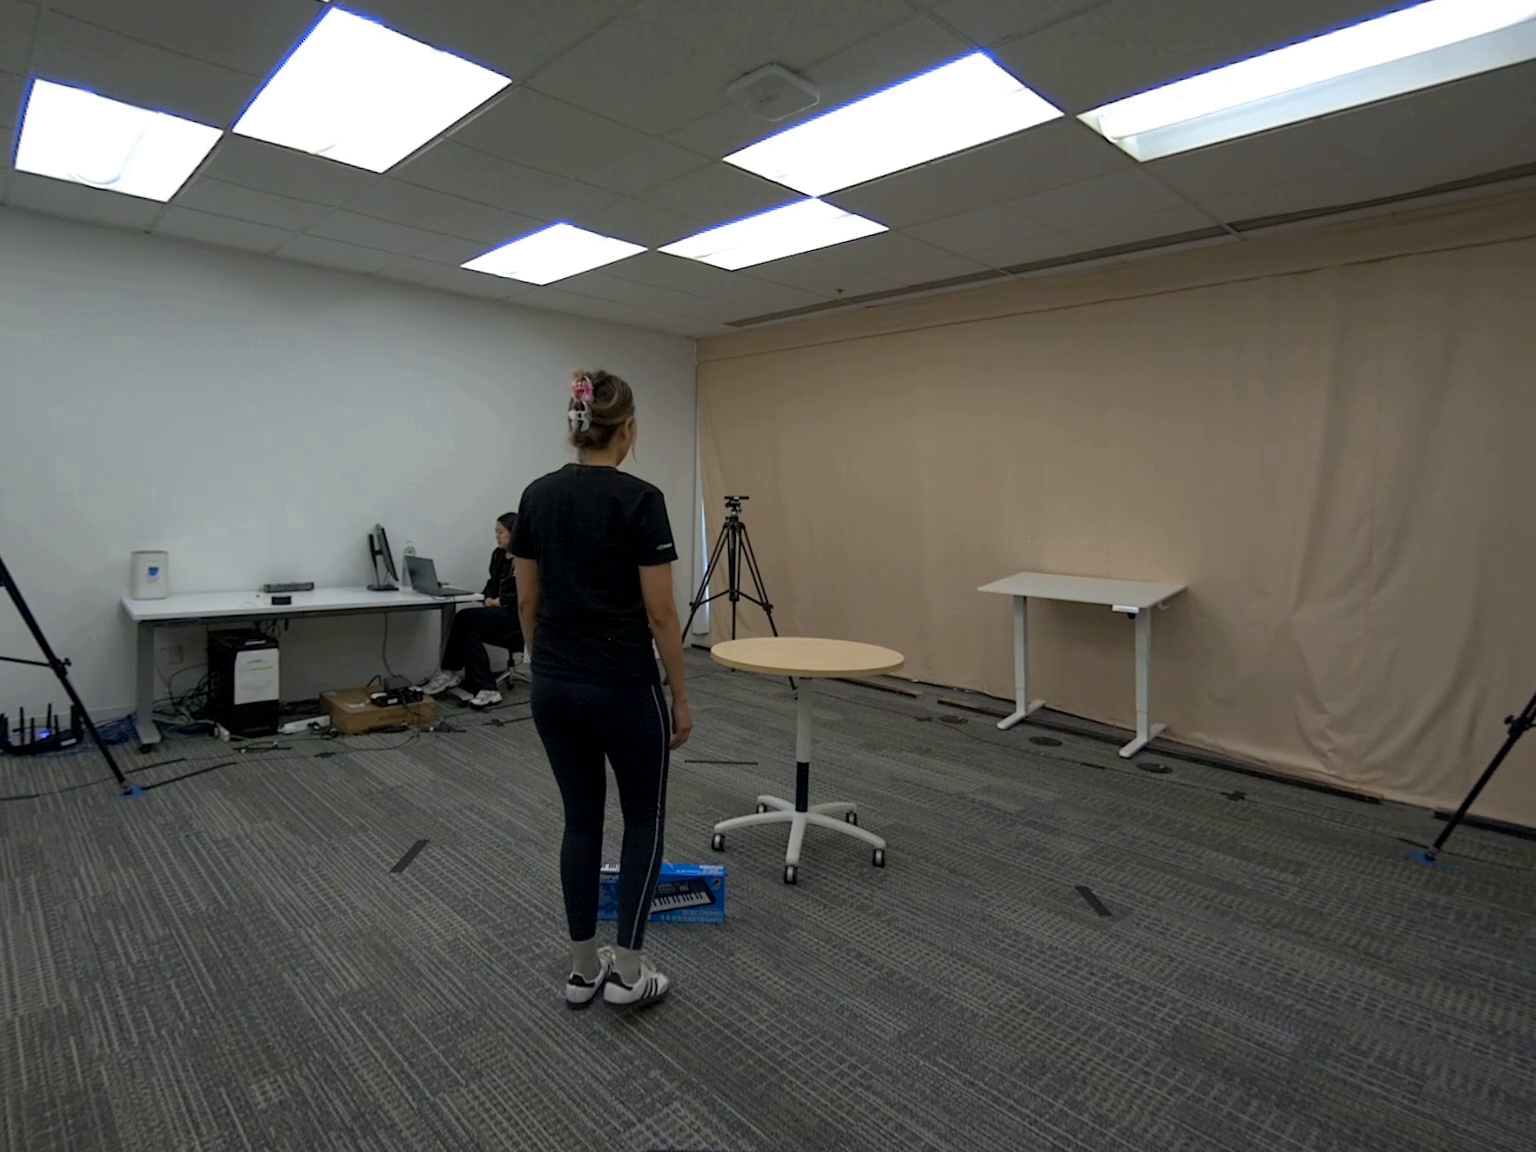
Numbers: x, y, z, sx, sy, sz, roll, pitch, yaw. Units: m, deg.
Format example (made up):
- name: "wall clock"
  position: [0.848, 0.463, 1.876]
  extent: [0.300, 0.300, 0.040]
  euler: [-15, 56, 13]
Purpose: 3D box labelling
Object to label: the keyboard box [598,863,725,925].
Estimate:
- name: "keyboard box"
  position: [-0.367, 1.044, 2.762]
  extent: [0.437, 0.175, 0.059]
  euler: [2, 8, 0]
